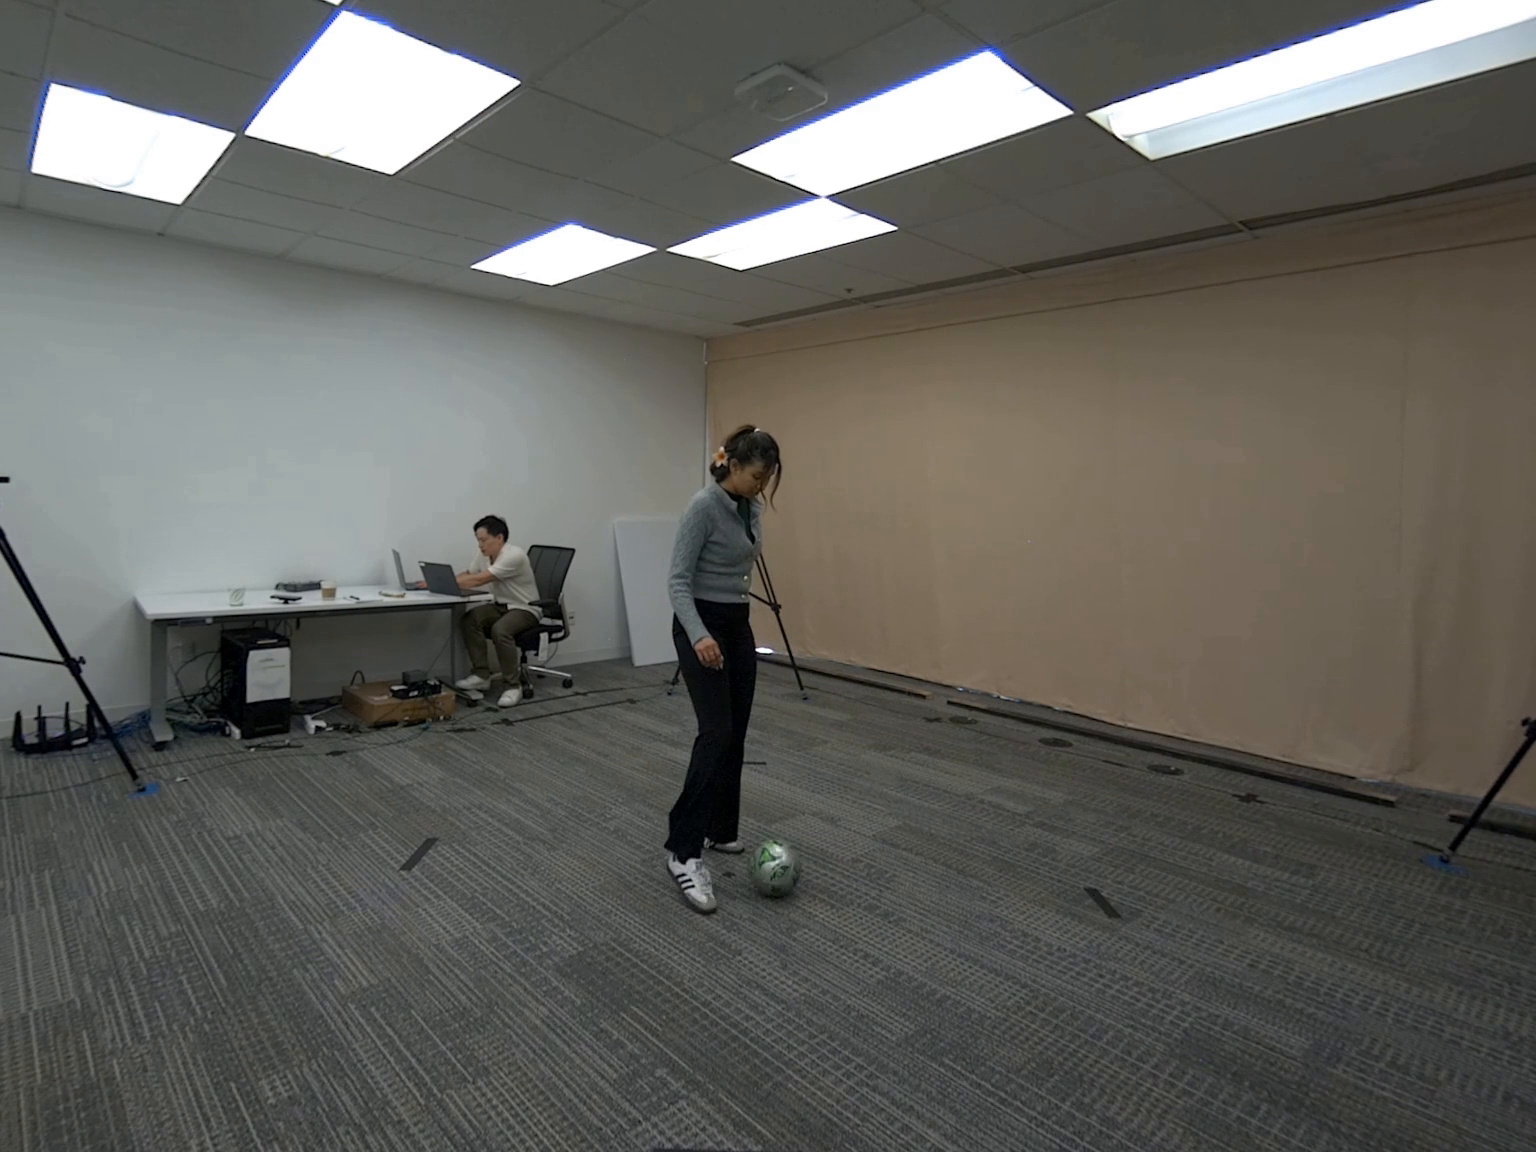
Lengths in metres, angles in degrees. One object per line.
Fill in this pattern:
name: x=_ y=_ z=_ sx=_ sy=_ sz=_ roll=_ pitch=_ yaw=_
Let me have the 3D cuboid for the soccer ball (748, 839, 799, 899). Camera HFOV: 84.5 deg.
soccer ball: x=0.021 y=1.026 z=2.952 sx=0.187 sy=0.187 sz=0.188 roll=1 pitch=4 yaw=-1
